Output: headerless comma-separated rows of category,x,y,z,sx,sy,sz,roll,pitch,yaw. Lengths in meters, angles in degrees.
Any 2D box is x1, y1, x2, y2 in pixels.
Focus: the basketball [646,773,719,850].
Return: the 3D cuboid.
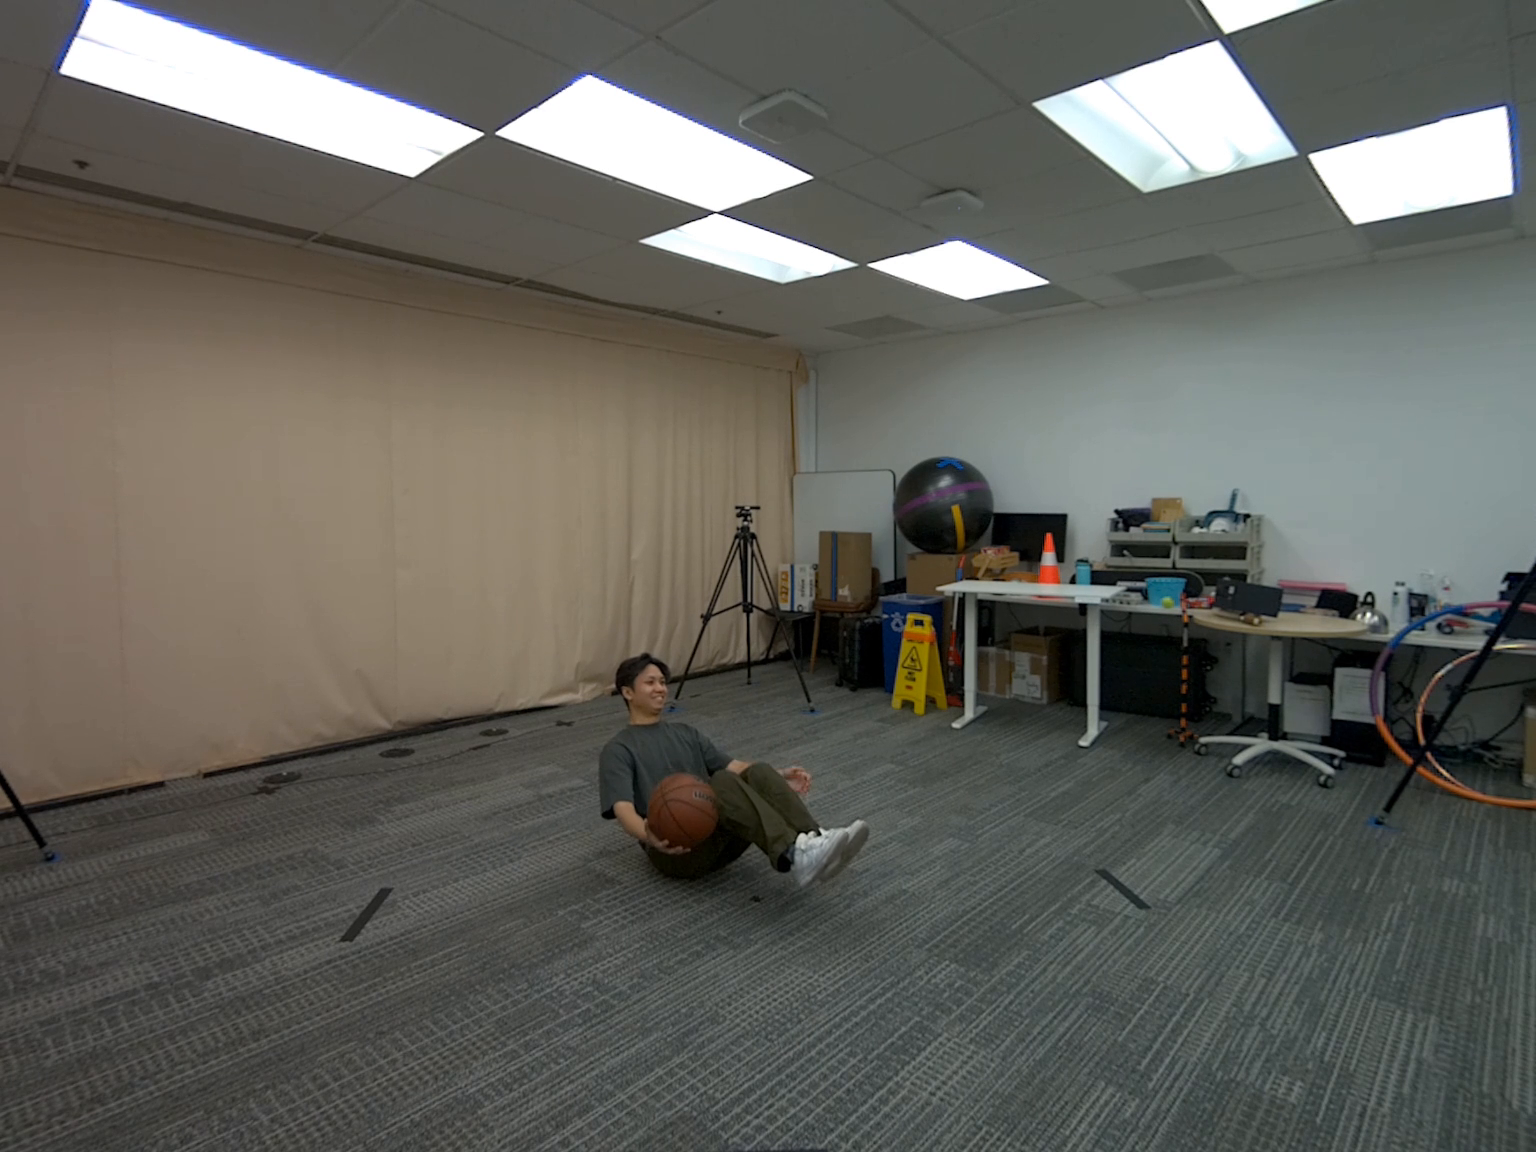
basketball,-0.268,0.775,2.803,0.236,0.235,0.237,0,4,-2
